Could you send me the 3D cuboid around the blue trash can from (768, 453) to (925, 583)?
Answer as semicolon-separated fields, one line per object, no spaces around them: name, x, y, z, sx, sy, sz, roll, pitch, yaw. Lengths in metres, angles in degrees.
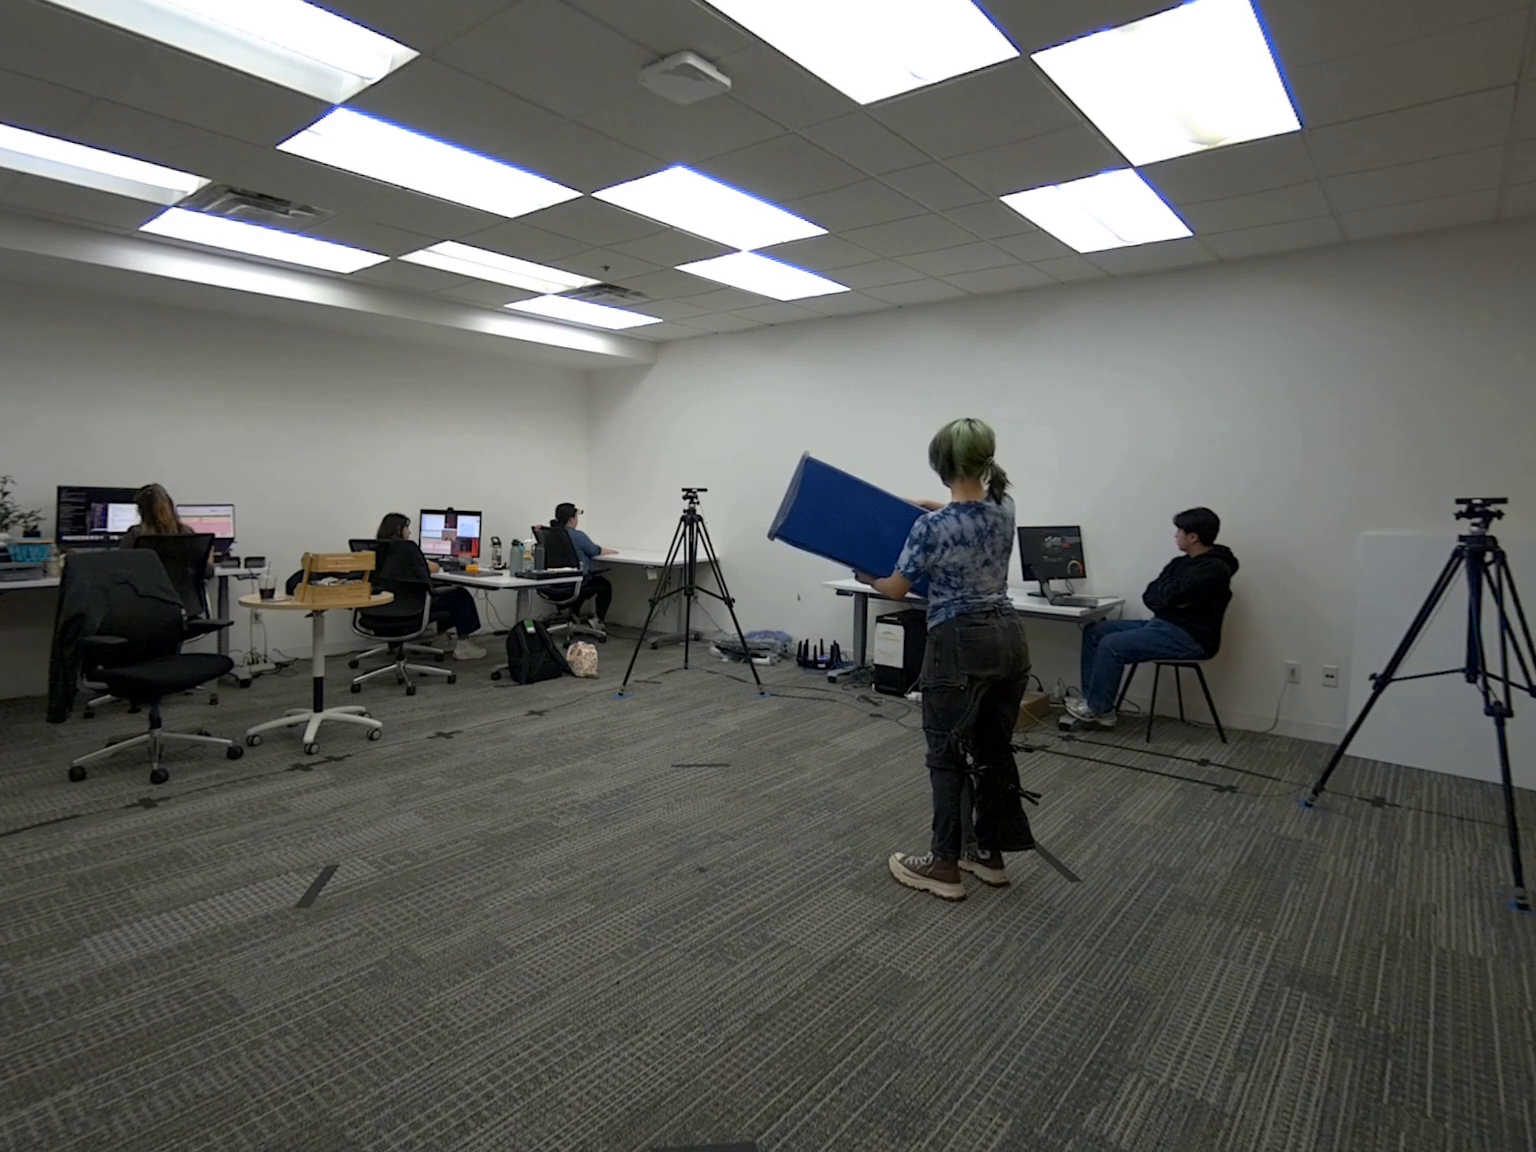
blue trash can;0.387;-0.186;3.389;0.724;0.378;0.369;24;0;10
